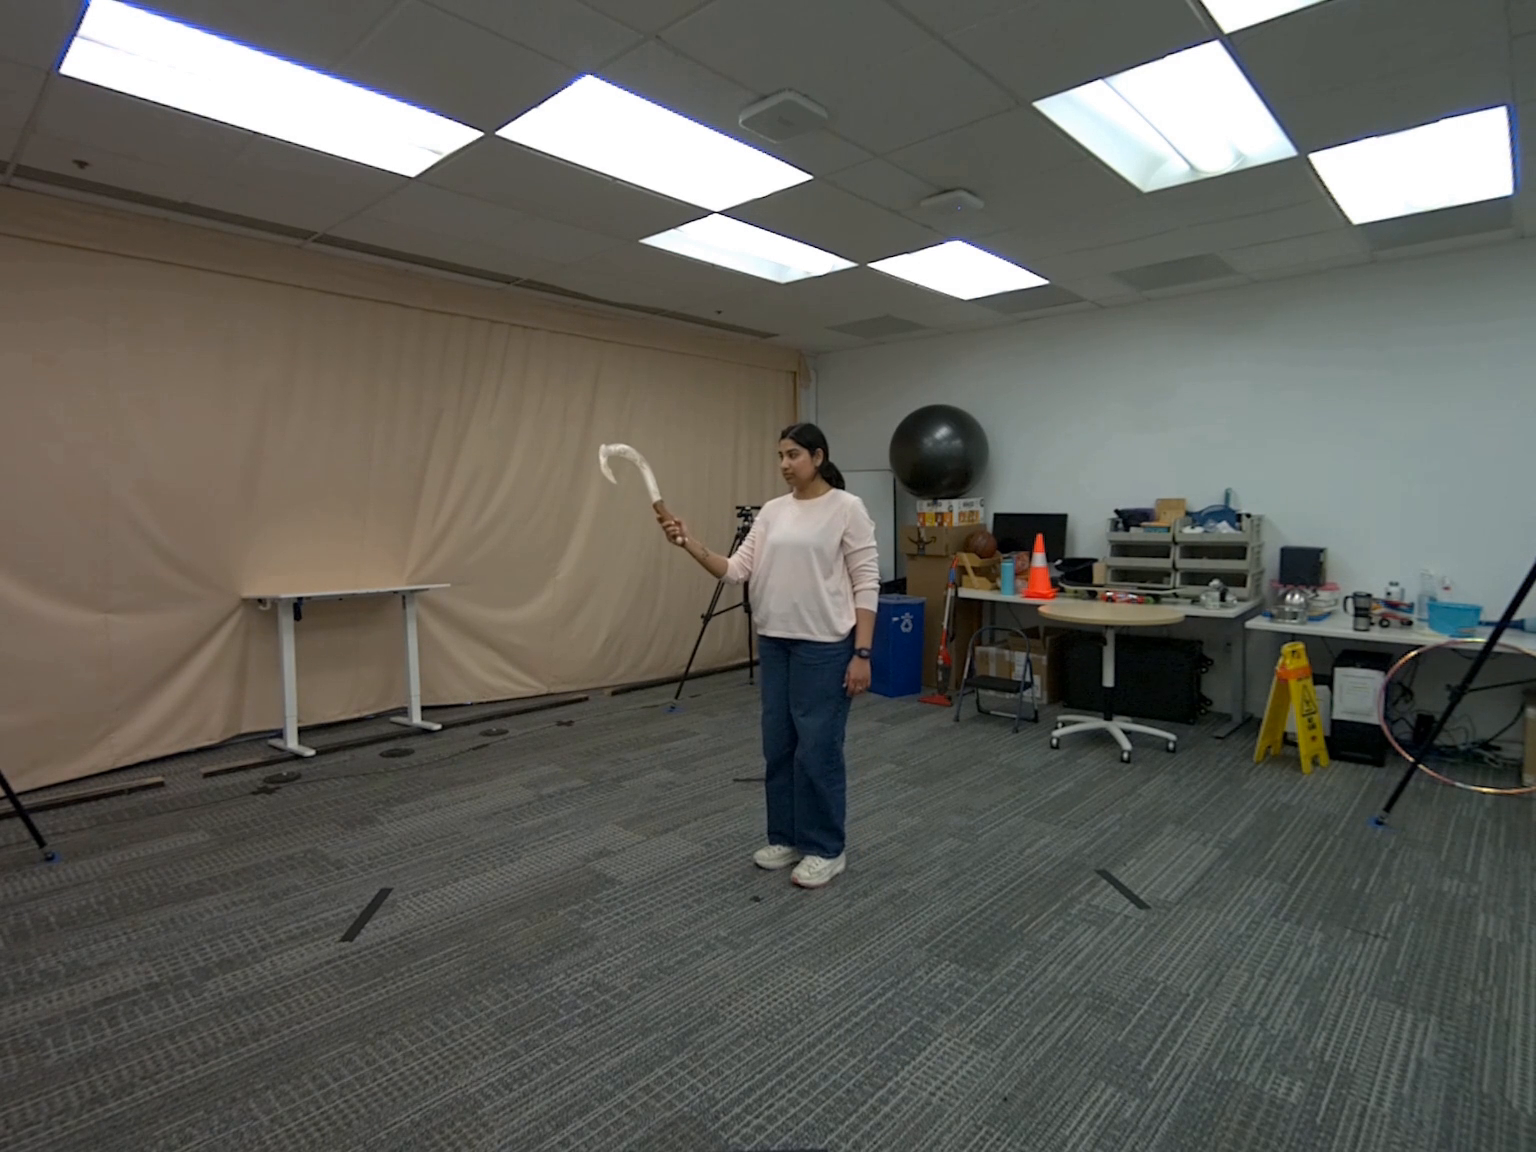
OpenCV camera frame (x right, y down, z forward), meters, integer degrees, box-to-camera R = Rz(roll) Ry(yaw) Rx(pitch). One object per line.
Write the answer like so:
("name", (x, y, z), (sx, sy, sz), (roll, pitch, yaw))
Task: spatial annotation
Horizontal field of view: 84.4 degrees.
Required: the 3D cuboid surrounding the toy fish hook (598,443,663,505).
("toy fish hook", (-0.464, -0.299, 3.133), (0.218, 0.519, 0.048), (-13, -31, -41))
